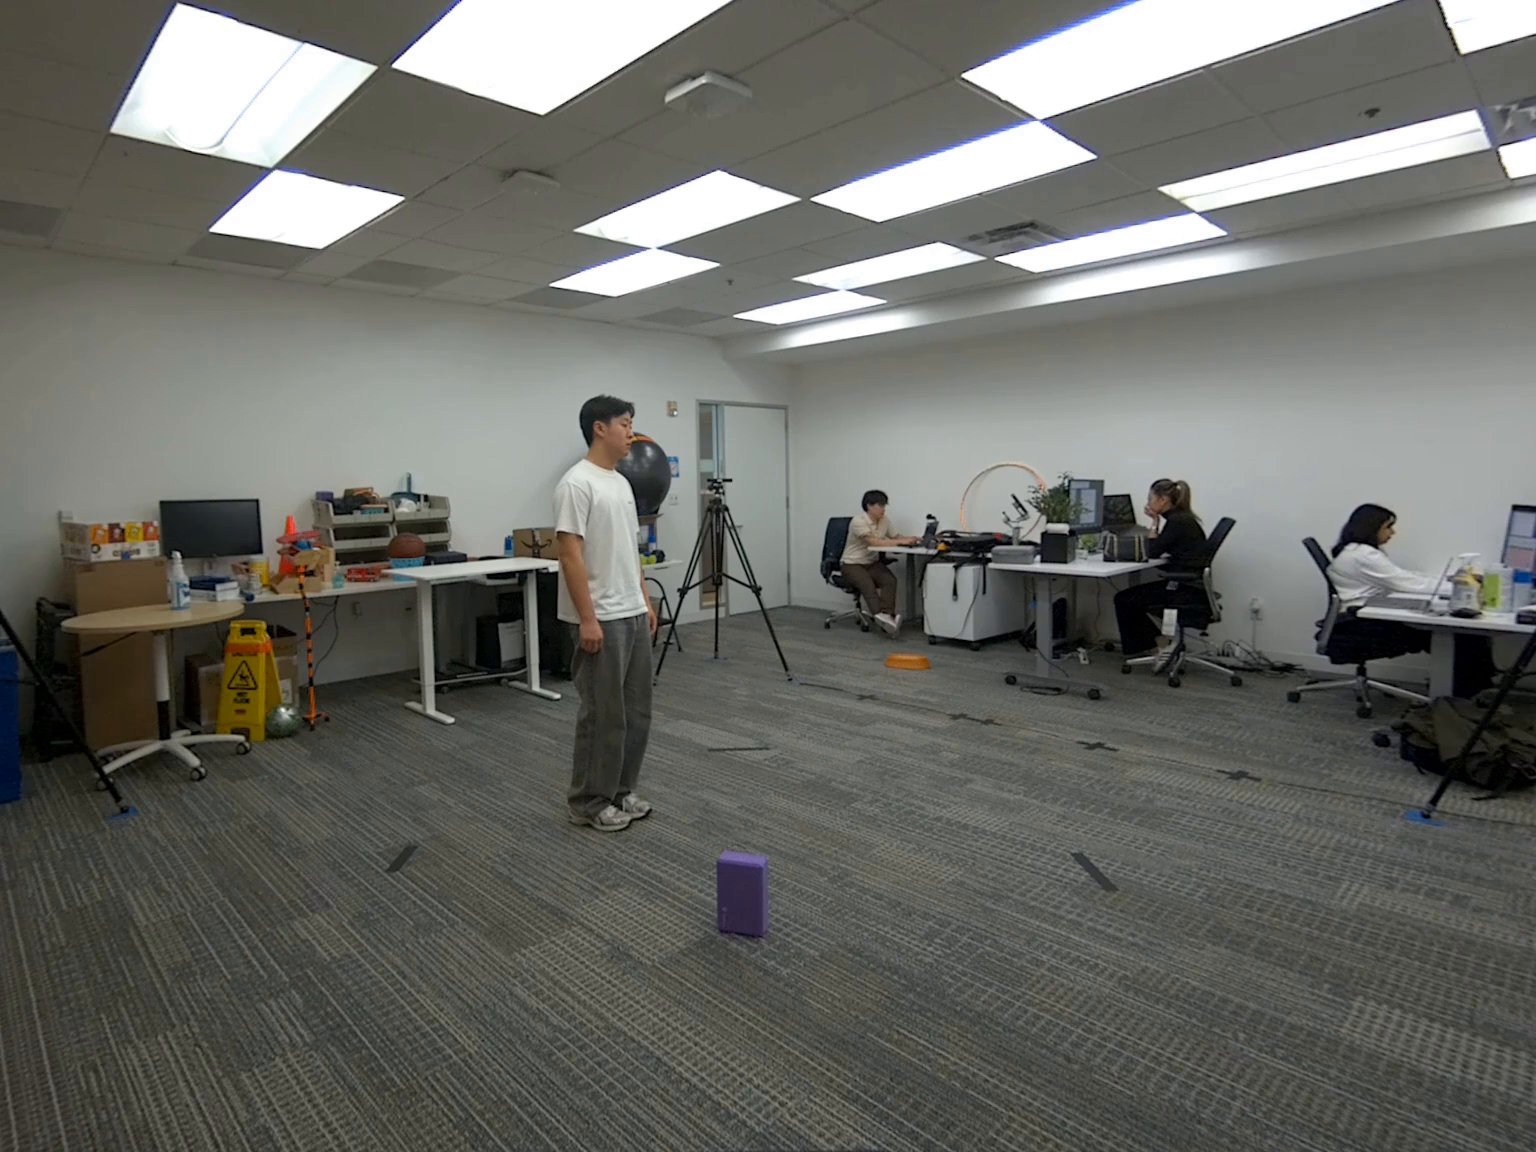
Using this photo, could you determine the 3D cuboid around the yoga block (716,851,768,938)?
[{"bbox_3d":[-0.071,0.985,2.649,0.151,0.228,0.075,0,4,16],"label":"yoga block"}]
